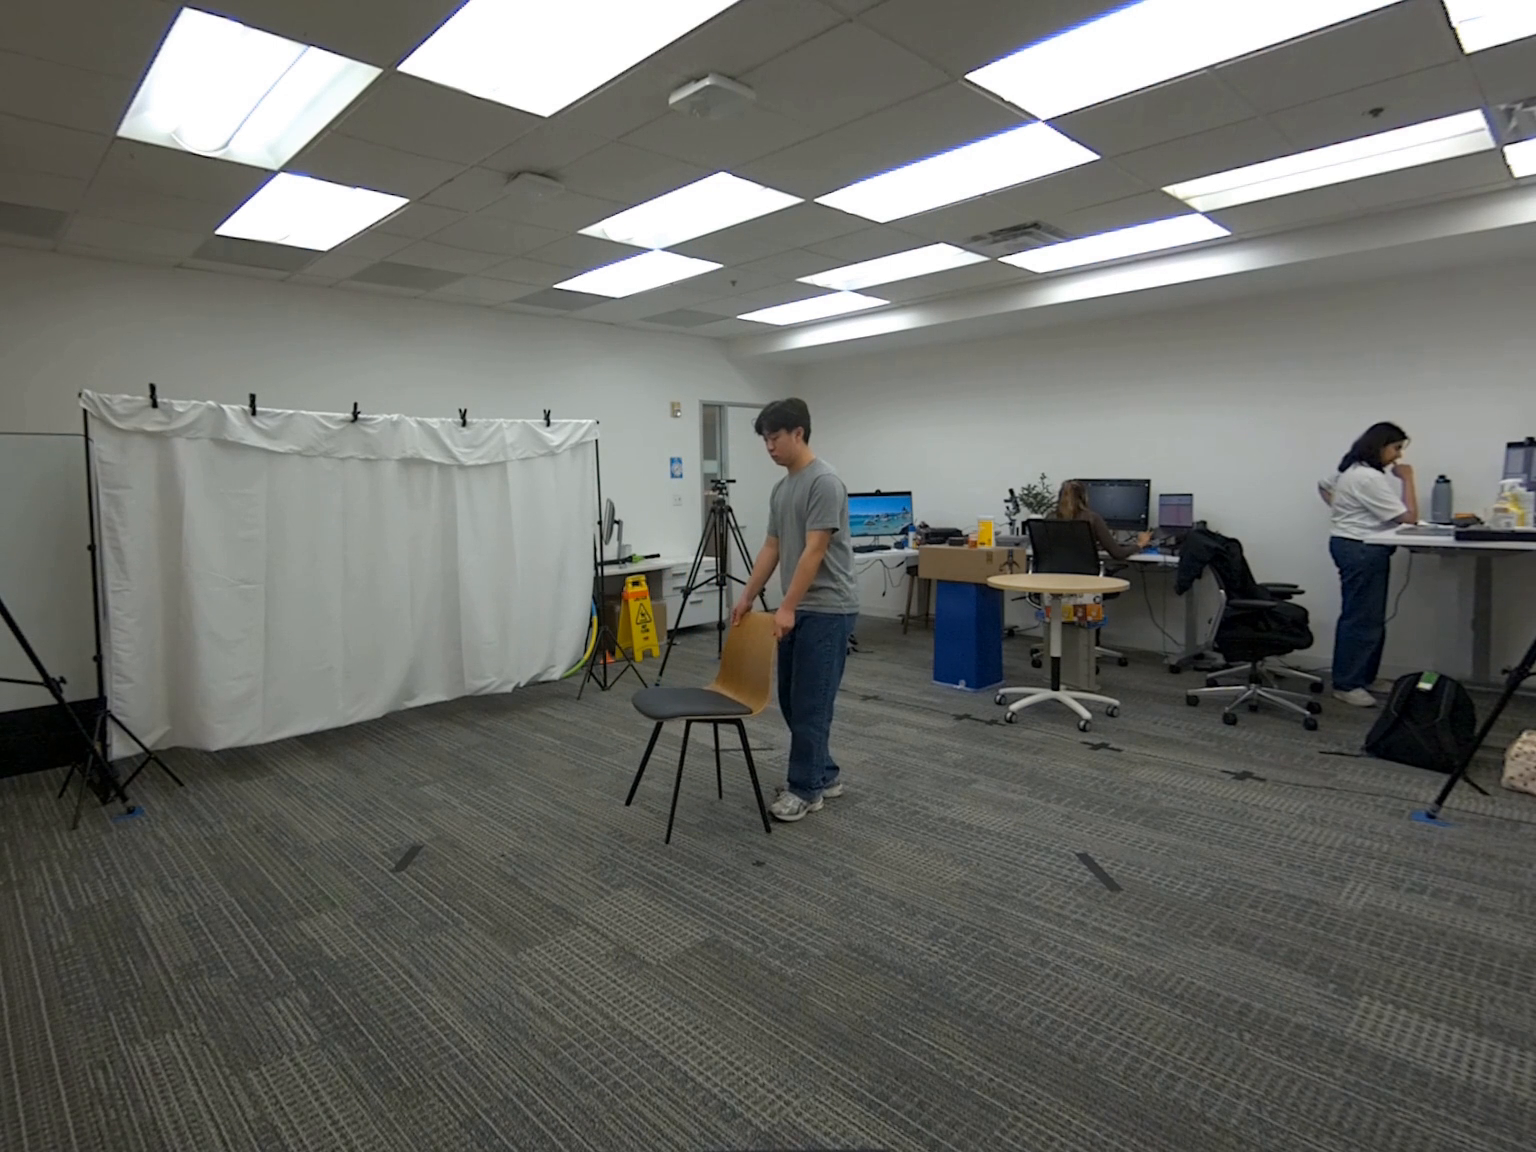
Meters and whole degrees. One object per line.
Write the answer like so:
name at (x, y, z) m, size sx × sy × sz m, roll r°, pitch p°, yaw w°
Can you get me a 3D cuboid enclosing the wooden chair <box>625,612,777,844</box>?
wooden chair at (-0.266, 0.563, 3.452) m, size 0.509 × 0.878 × 0.490 m, roll 9°, pitch -1°, yaw -28°
